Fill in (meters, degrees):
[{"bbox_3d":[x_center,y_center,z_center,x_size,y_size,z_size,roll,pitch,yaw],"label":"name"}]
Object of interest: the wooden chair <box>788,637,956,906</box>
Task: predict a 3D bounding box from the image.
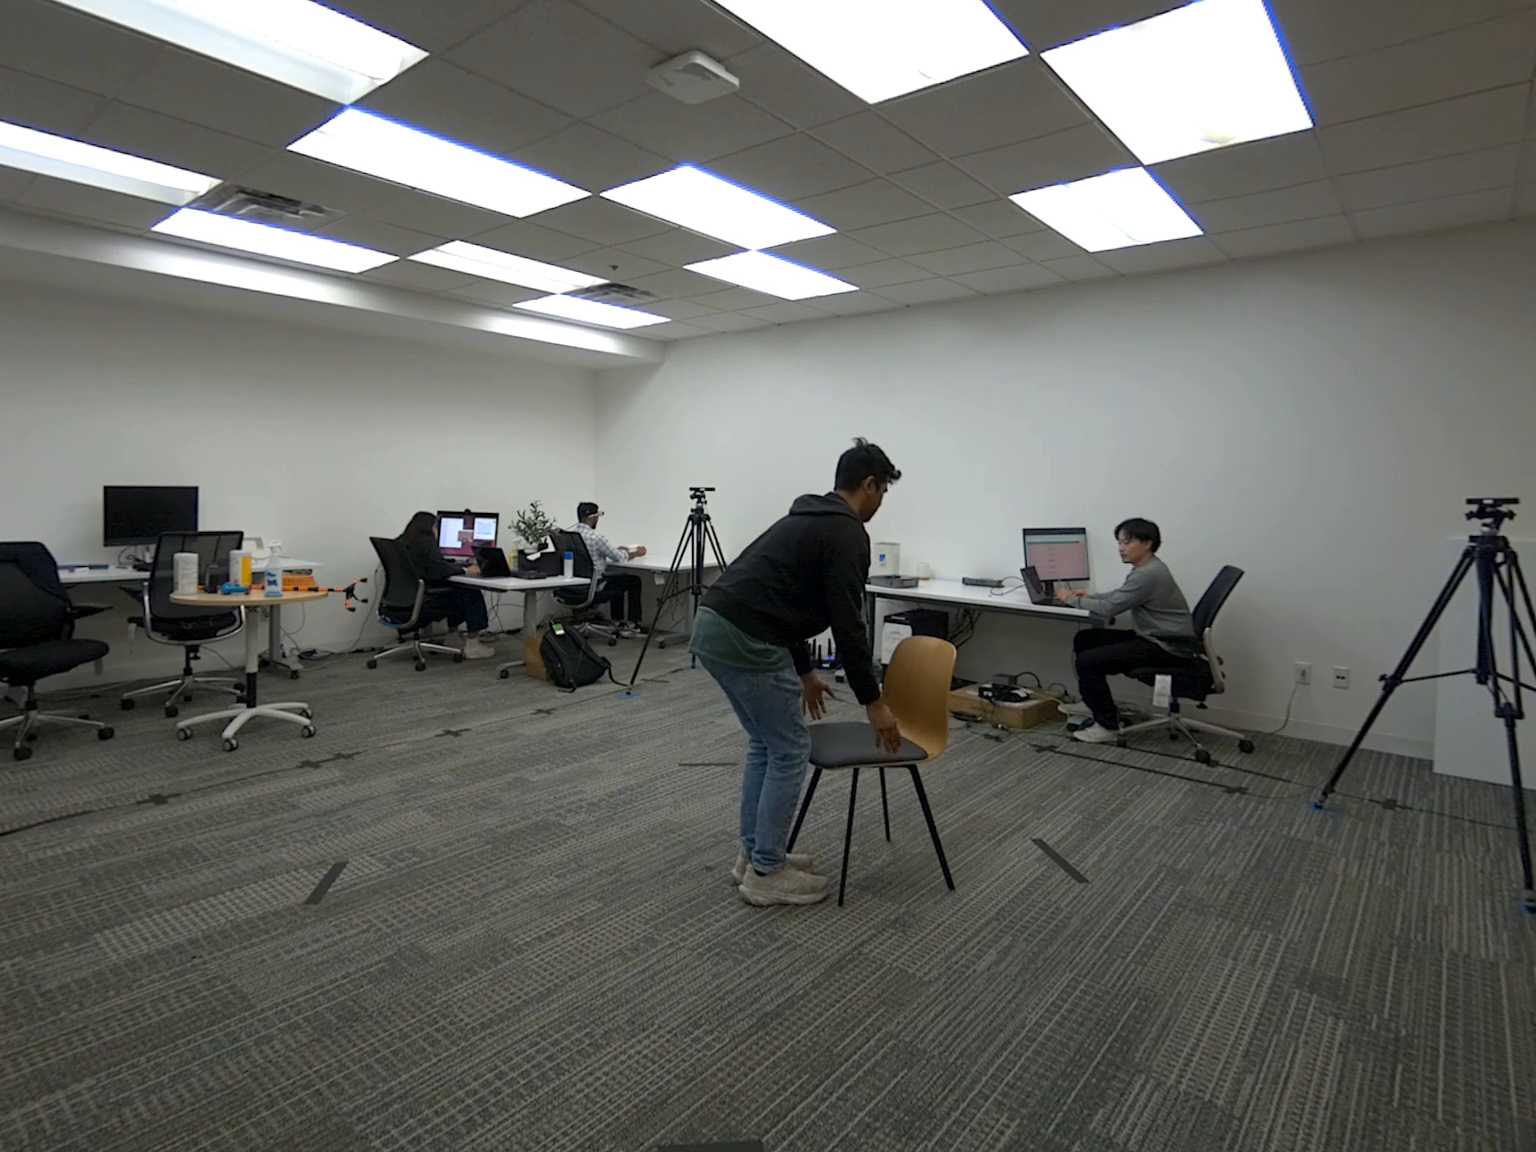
[{"bbox_3d":[0.363,0.651,3.098,0.511,0.876,0.490,5,3,-21],"label":"wooden chair"}]
